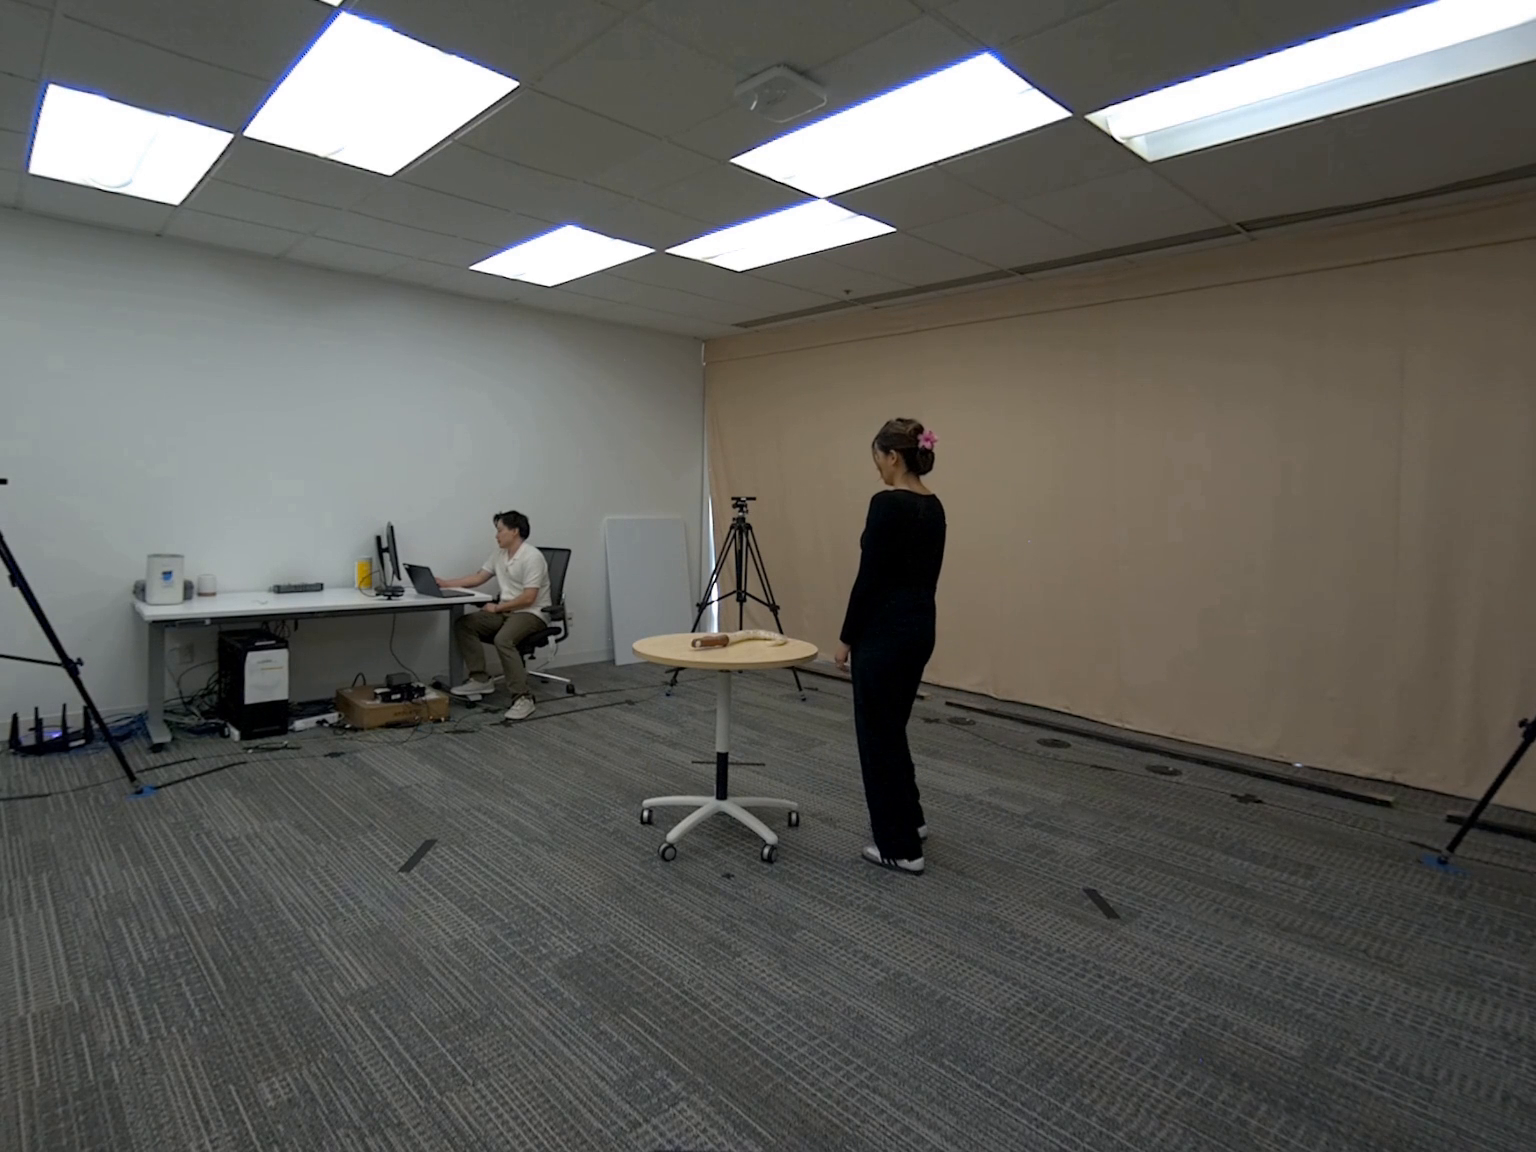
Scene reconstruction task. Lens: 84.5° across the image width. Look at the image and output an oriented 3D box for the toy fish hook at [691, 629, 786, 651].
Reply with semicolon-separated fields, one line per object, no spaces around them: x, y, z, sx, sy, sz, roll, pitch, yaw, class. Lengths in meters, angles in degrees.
-0.109;0.267;3.499;0.230;0.048;0.495;3;5;37;toy fish hook
